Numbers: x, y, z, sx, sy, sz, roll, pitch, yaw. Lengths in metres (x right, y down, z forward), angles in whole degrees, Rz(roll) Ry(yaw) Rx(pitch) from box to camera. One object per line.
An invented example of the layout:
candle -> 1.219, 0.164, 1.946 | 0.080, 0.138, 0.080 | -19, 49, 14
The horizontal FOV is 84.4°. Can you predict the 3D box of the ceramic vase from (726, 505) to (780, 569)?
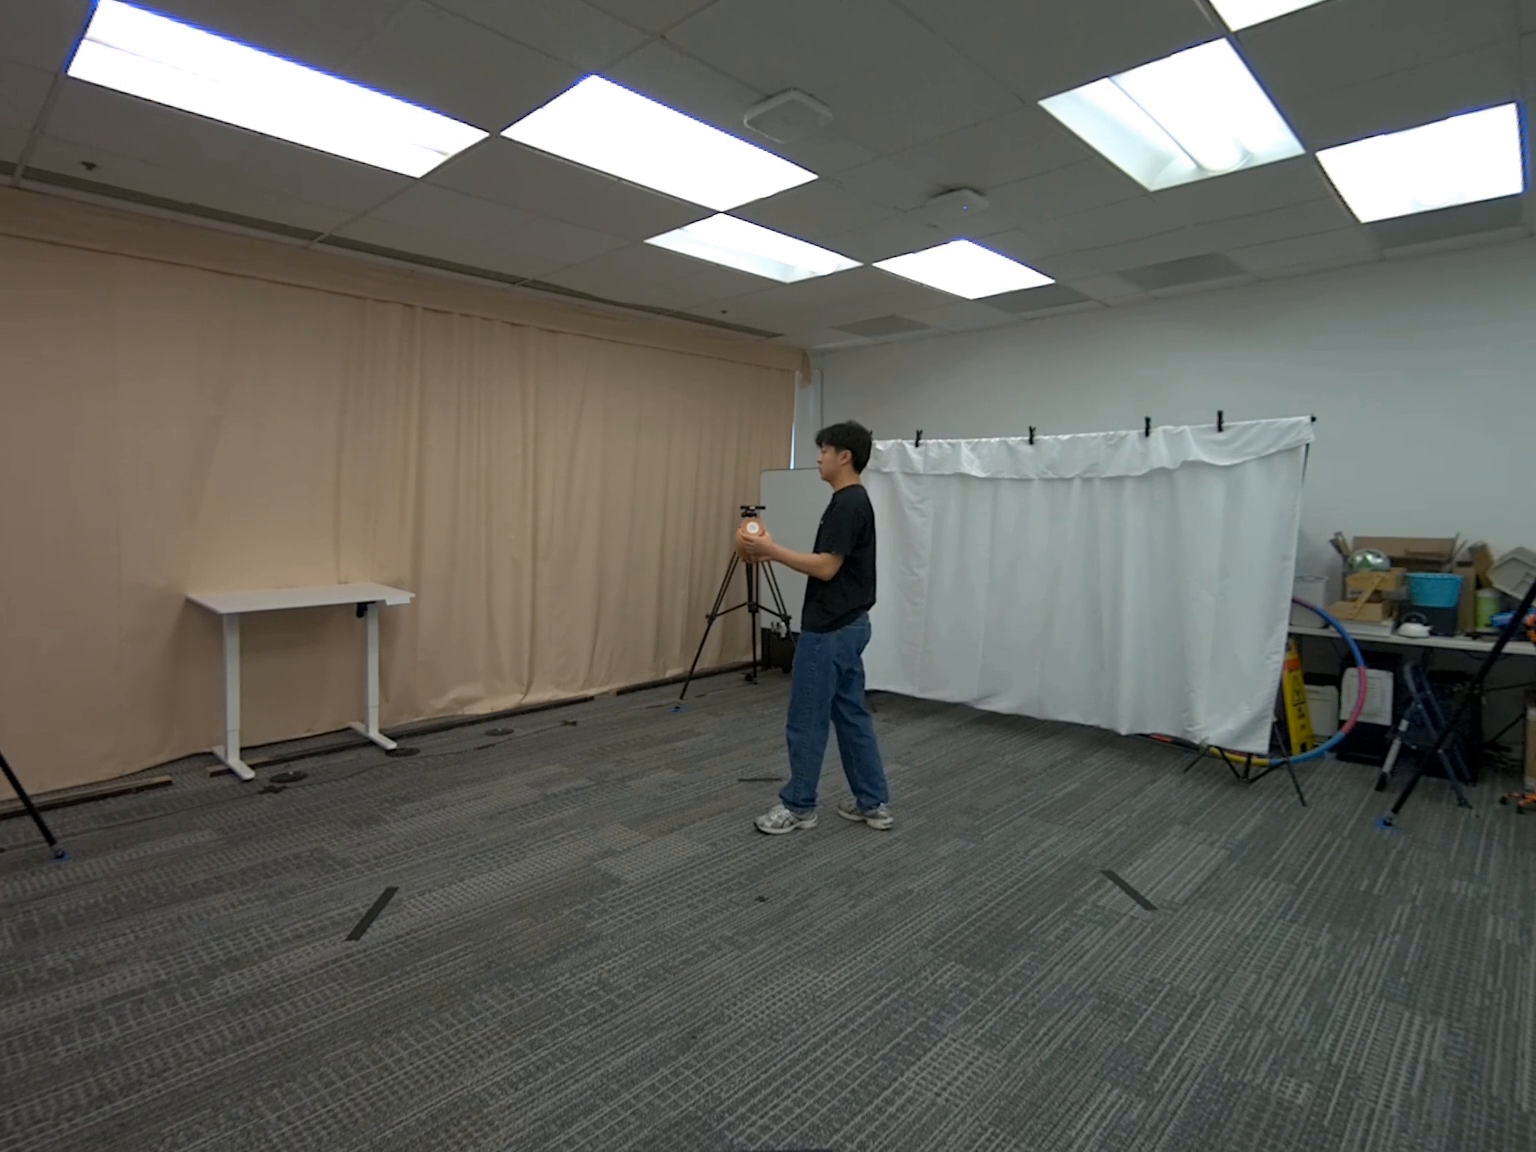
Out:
ceramic vase -> -0.072, -0.171, 3.694 | 0.161, 0.134, 0.218 | 38, -20, 8
